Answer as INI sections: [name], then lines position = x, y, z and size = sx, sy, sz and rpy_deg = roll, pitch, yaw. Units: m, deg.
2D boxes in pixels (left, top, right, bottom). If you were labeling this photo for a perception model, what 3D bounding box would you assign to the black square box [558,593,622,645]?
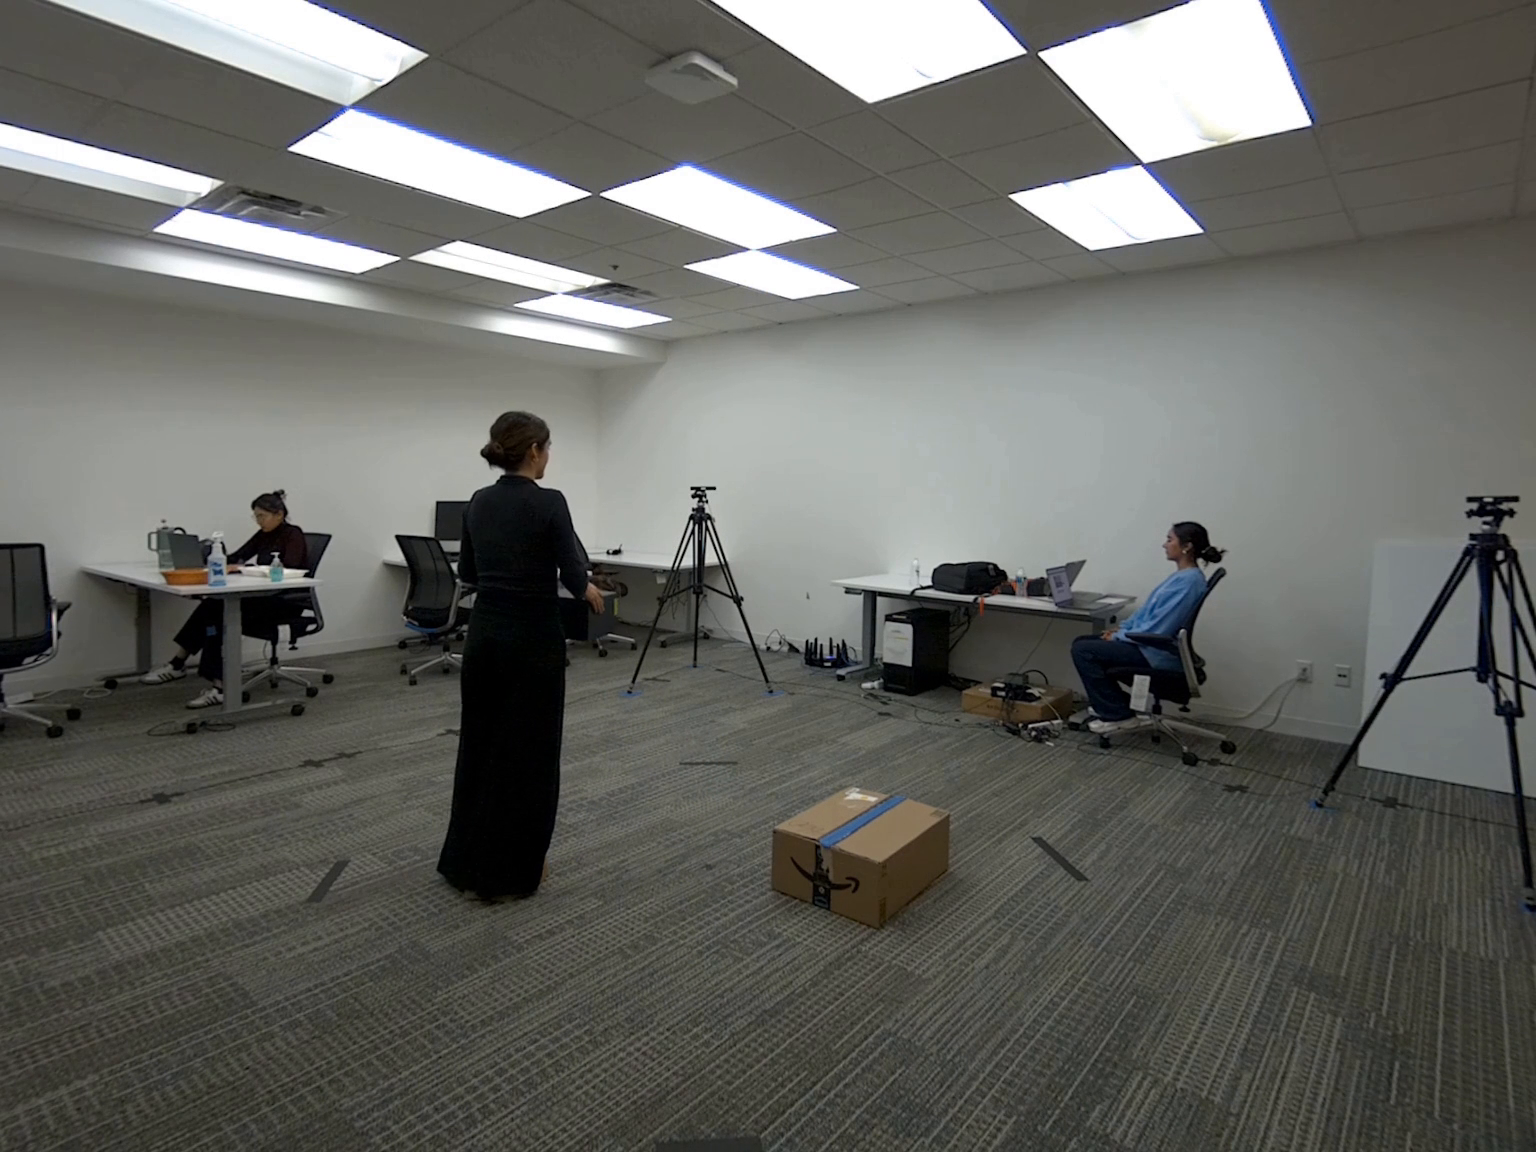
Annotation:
[black square box]
position = -0.731, 0.138, 3.218
size = 0.233, 0.155, 0.213
rpy_deg = 4, 7, 22
